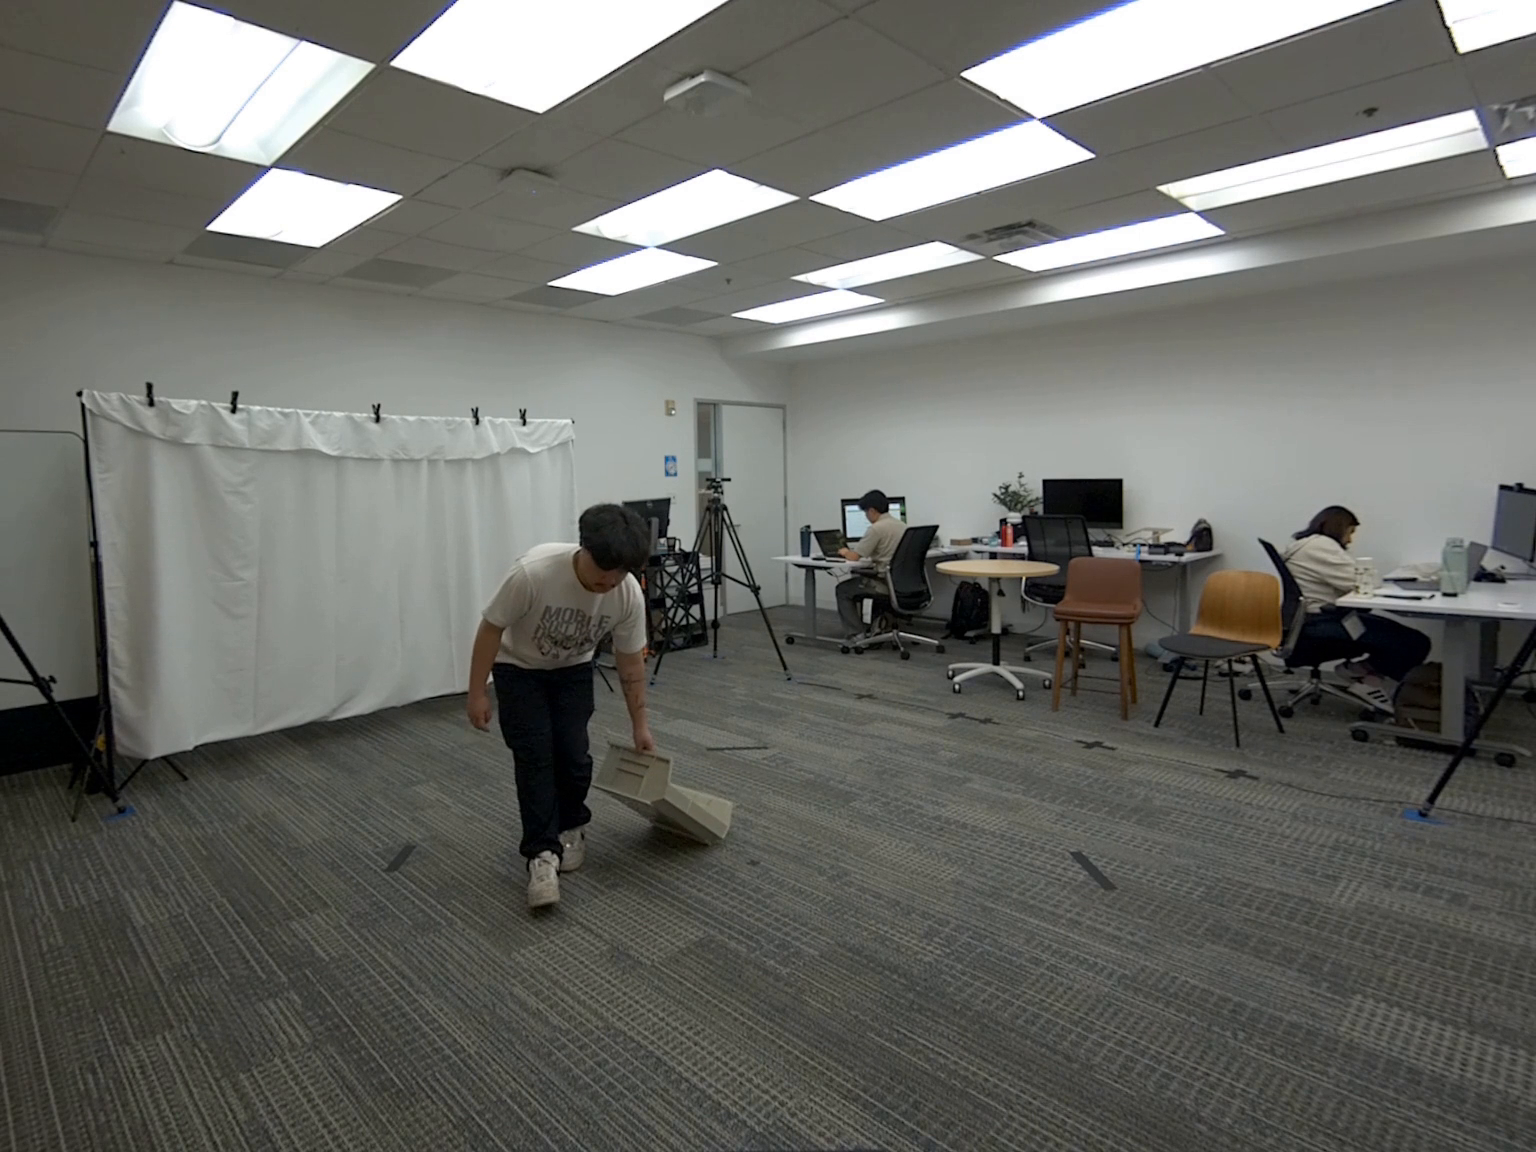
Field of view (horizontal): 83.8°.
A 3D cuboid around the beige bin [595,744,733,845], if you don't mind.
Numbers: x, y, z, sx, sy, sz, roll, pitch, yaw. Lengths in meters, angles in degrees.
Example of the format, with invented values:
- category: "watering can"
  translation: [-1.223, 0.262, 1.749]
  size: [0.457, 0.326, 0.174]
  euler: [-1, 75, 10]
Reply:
- category: "beige bin"
  translation: [-0.395, 0.831, 3.253]
  size: [0.388, 0.191, 0.406]
  euler: [3, -31, 38]
